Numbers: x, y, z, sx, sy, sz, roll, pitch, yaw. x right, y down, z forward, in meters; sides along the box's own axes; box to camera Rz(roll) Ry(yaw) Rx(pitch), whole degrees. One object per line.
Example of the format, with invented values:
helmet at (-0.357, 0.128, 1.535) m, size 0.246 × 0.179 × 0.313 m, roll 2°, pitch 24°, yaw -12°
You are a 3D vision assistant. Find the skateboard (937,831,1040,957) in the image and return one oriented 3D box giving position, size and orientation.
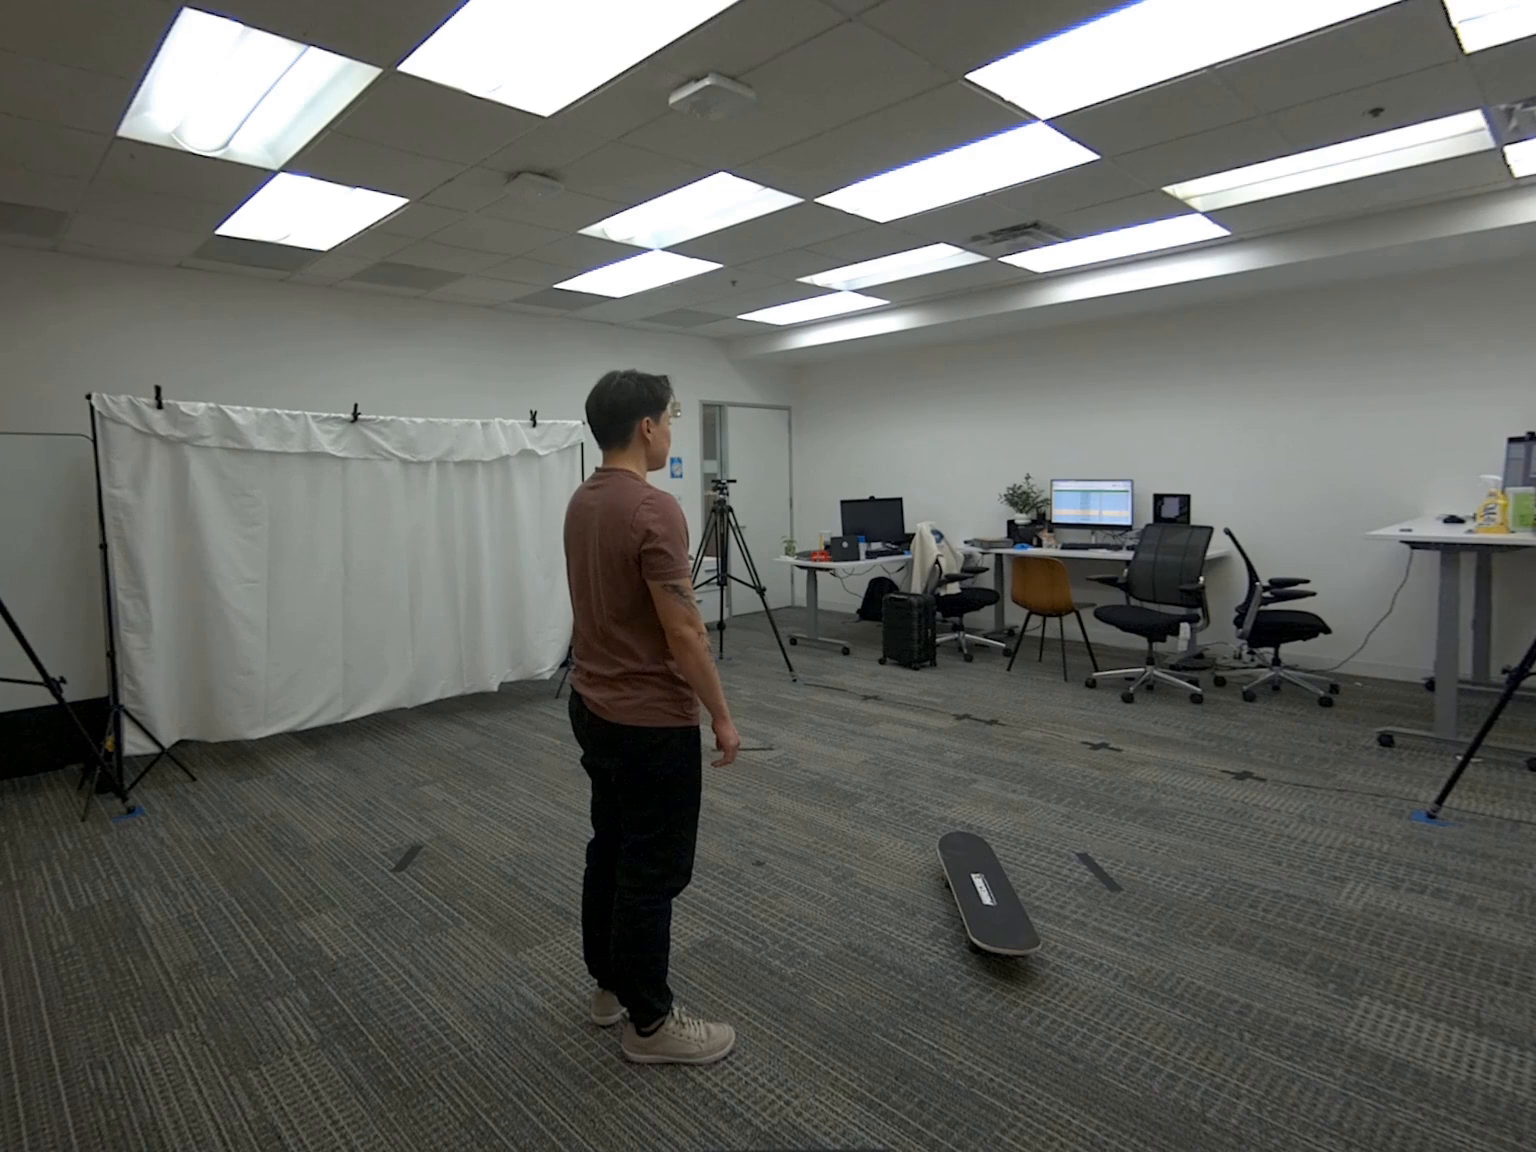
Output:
skateboard at (0.690, 1.025, 2.703) m, size 0.194 × 0.110 × 0.786 m, roll -2°, pitch 7°, yaw 3°
